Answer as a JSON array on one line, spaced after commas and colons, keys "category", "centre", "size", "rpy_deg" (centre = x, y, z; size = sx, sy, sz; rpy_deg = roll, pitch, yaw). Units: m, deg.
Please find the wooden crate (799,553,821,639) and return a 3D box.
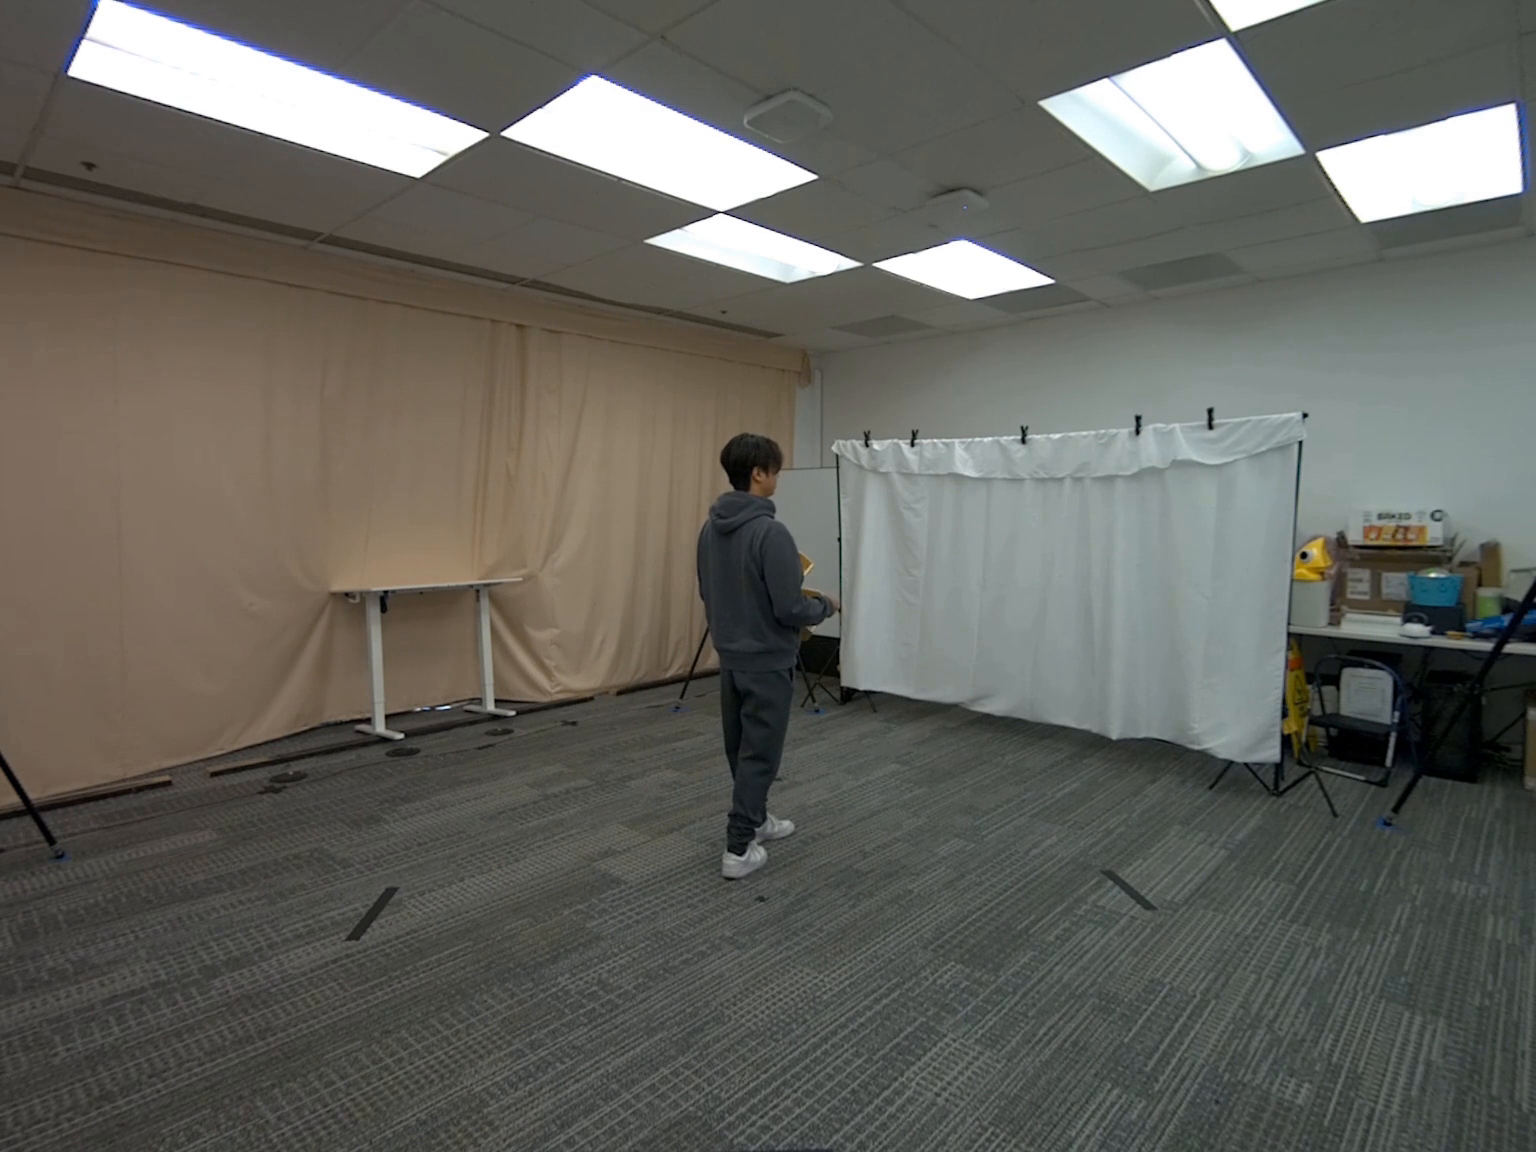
[{"category": "wooden crate", "centre": [0.107, 0.067, 3.588], "size": [0.309, 0.269, 0.322], "rpy_deg": [8, 24, 19]}]
